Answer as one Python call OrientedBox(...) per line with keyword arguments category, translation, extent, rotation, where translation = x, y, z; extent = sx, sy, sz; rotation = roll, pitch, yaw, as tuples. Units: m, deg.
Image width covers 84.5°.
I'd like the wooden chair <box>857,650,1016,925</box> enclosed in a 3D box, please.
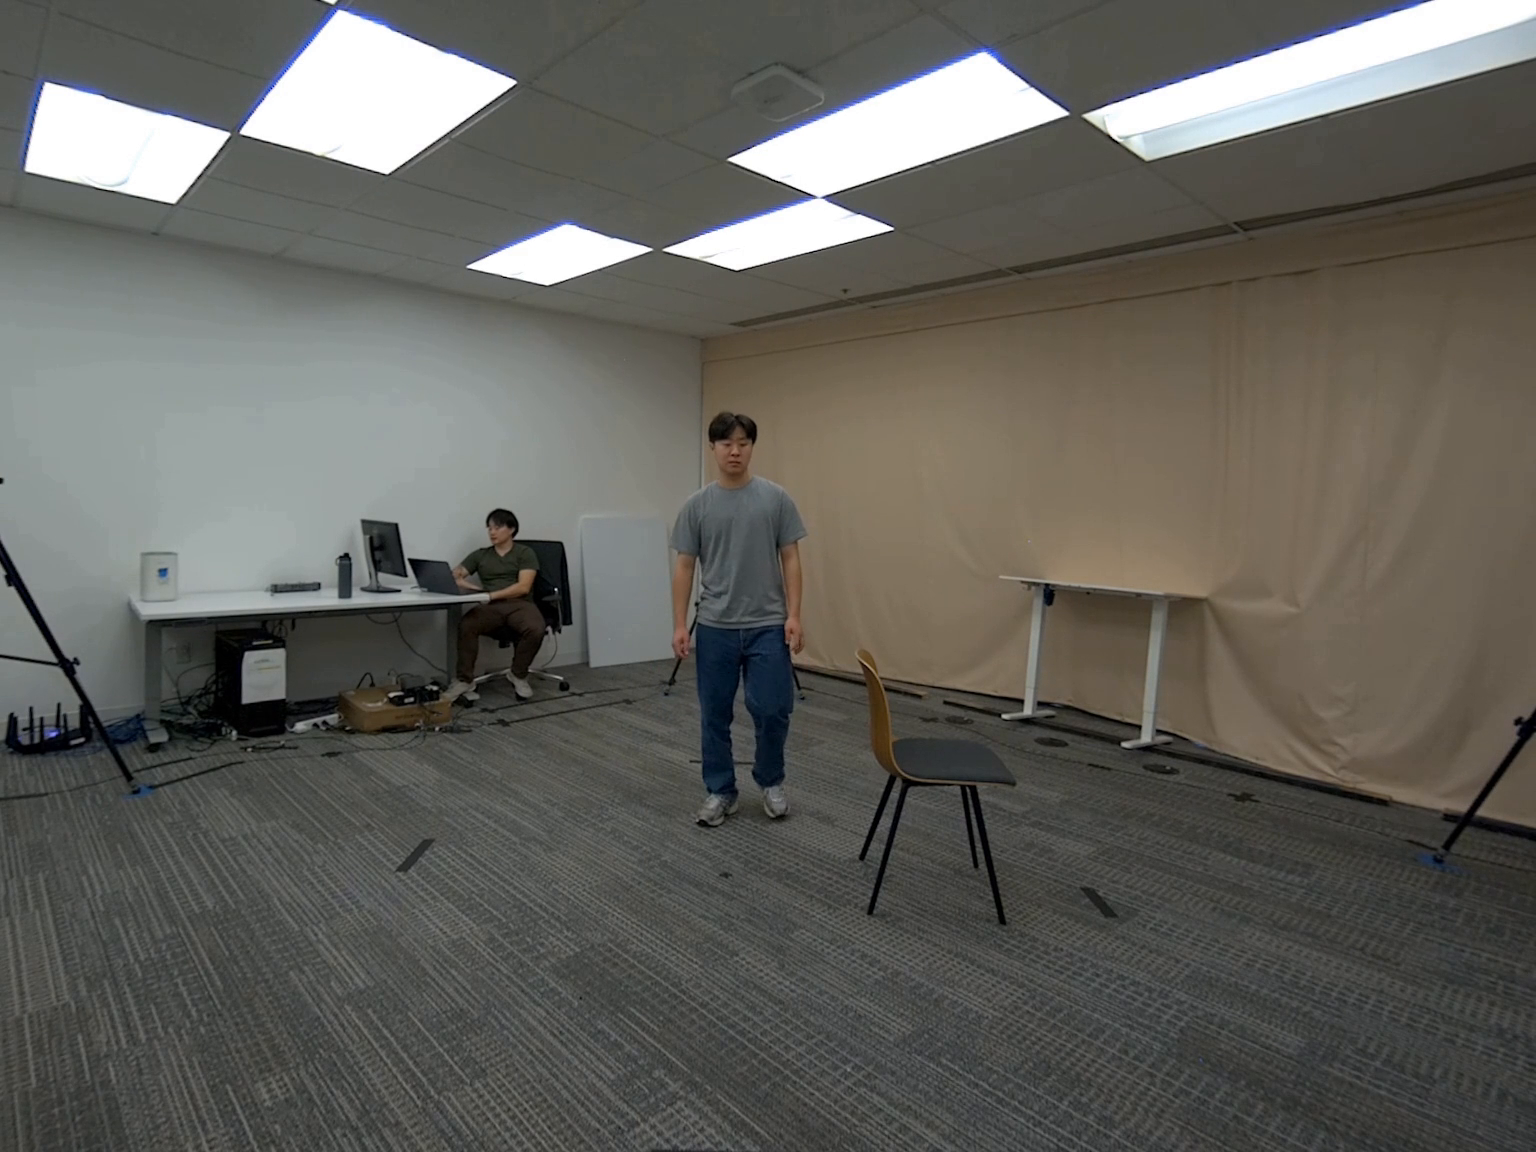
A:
OrientedBox(category="wooden chair", translation=(0.586, 0.706, 3.003), extent=(0.525, 0.875, 0.478), rotation=(-1, 3, 3))
